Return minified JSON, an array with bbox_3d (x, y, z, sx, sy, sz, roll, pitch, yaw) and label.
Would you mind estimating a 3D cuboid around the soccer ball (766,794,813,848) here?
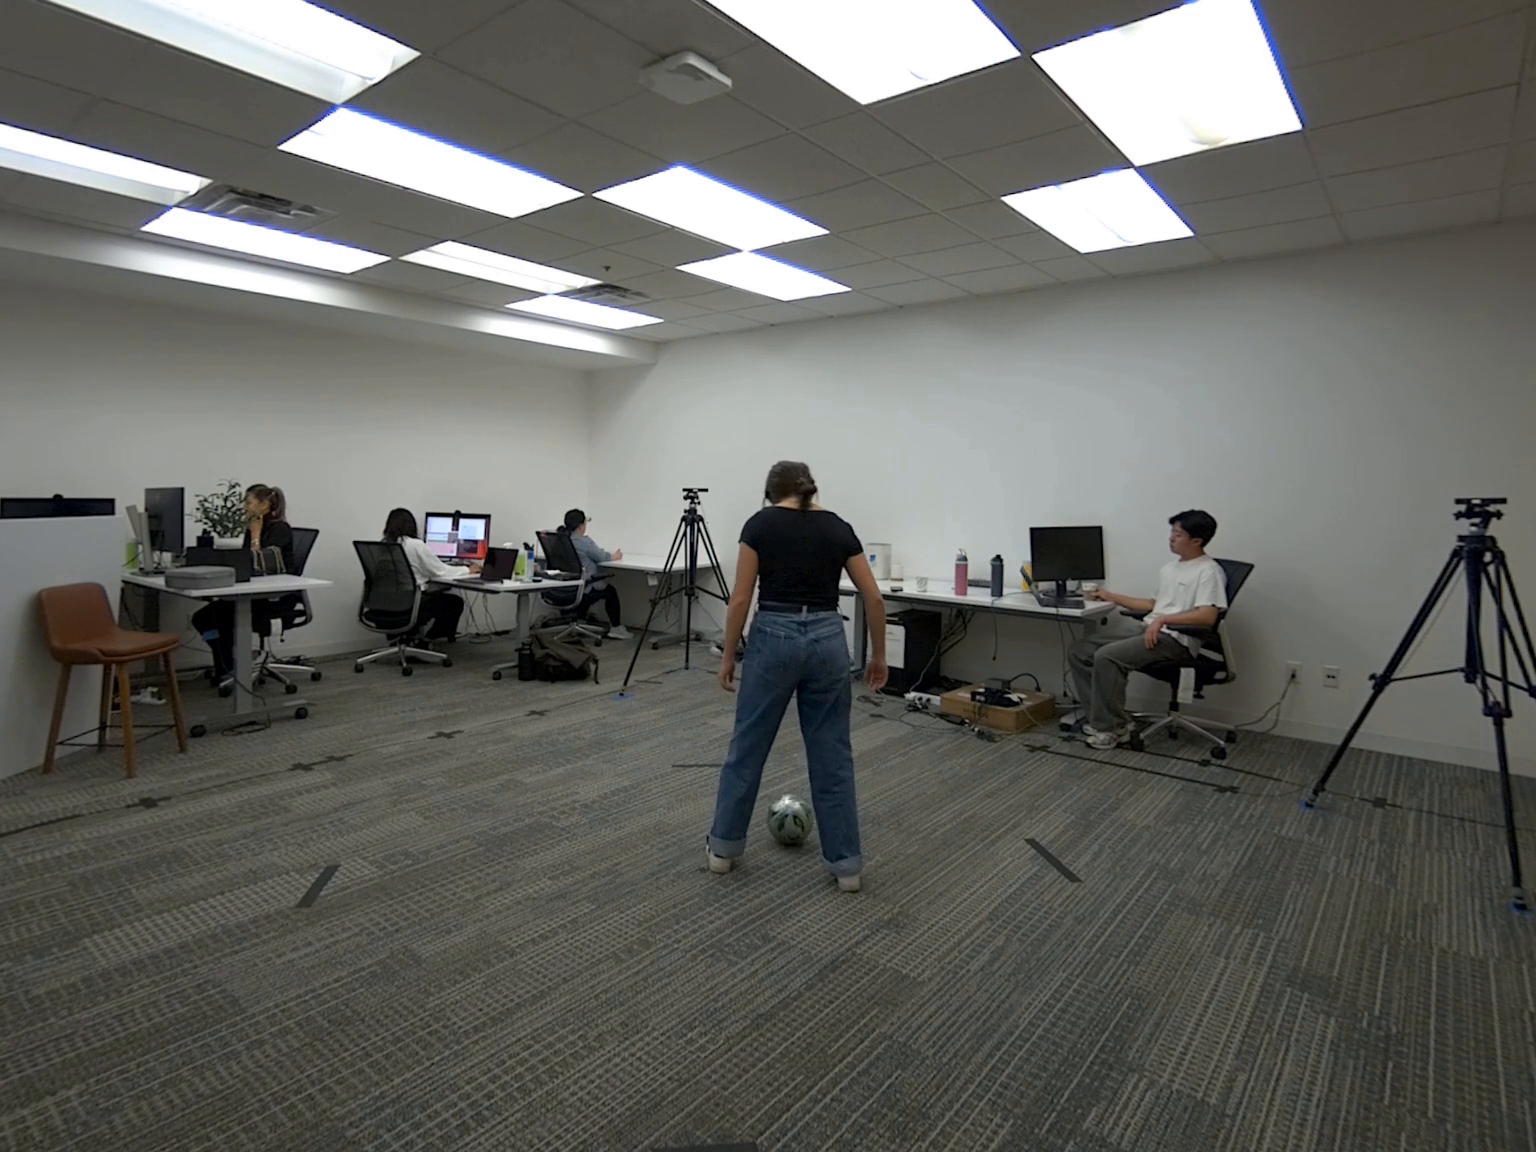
[{"bbox_3d":[0.090,0.954,3.367,0.187,0.187,0.188,1,4,-2],"label":"soccer ball"}]
